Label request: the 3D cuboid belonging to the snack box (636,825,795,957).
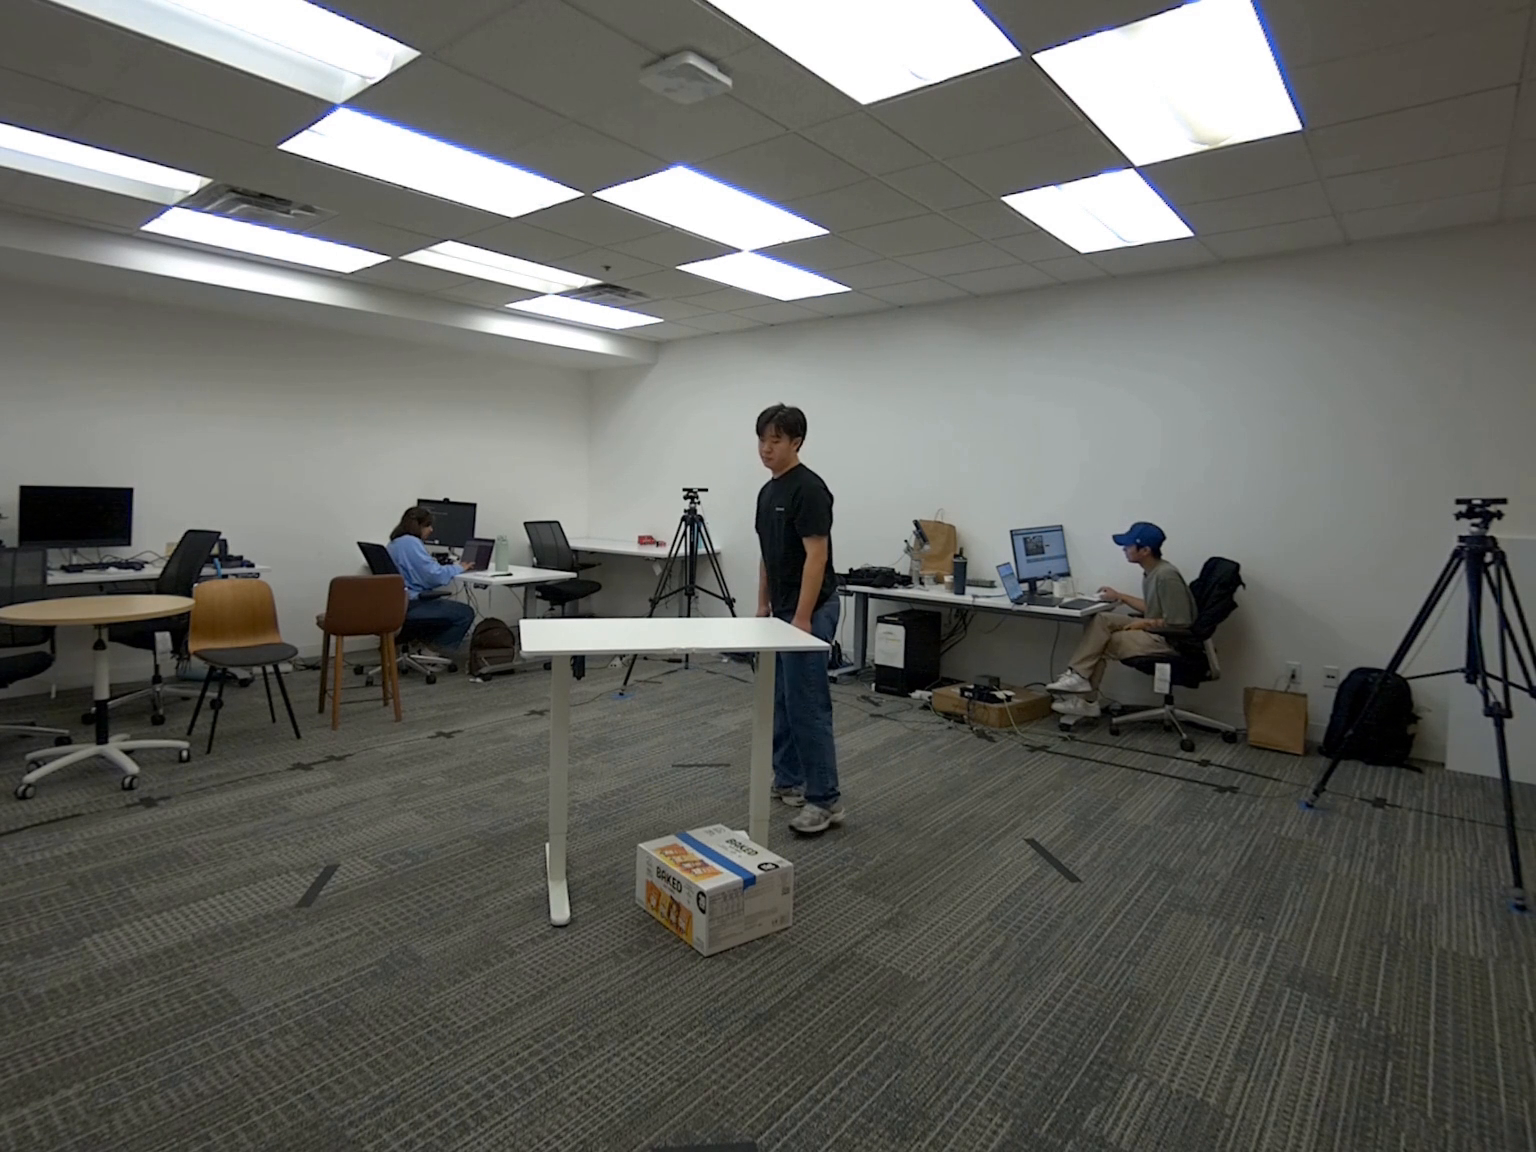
[{"bbox_3d":[-0.186,1.002,2.762,0.330,0.205,0.419,-2,6,-37],"label":"snack box"}]
